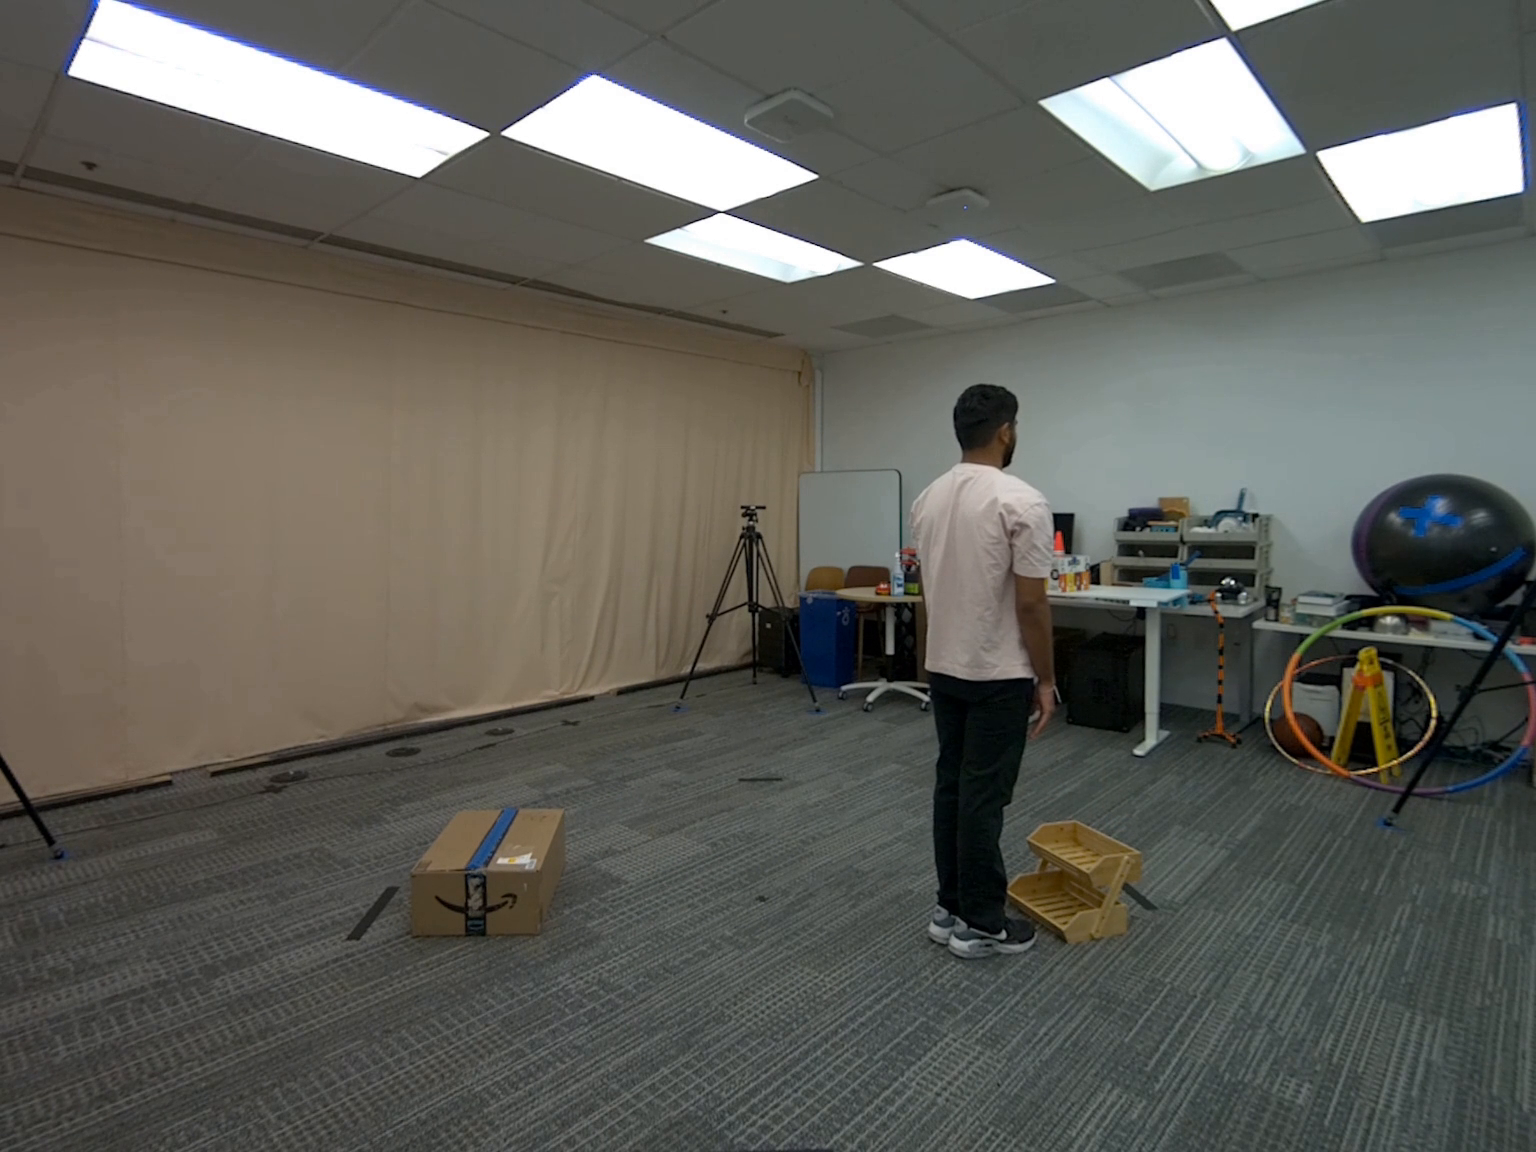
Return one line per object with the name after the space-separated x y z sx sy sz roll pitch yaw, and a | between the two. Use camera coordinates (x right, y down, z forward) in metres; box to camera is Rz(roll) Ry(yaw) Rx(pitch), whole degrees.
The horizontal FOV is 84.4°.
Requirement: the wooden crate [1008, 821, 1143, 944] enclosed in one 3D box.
1.016 1.011 2.842 0.296 0.273 0.331 -1 4 -20 | wooden crate
